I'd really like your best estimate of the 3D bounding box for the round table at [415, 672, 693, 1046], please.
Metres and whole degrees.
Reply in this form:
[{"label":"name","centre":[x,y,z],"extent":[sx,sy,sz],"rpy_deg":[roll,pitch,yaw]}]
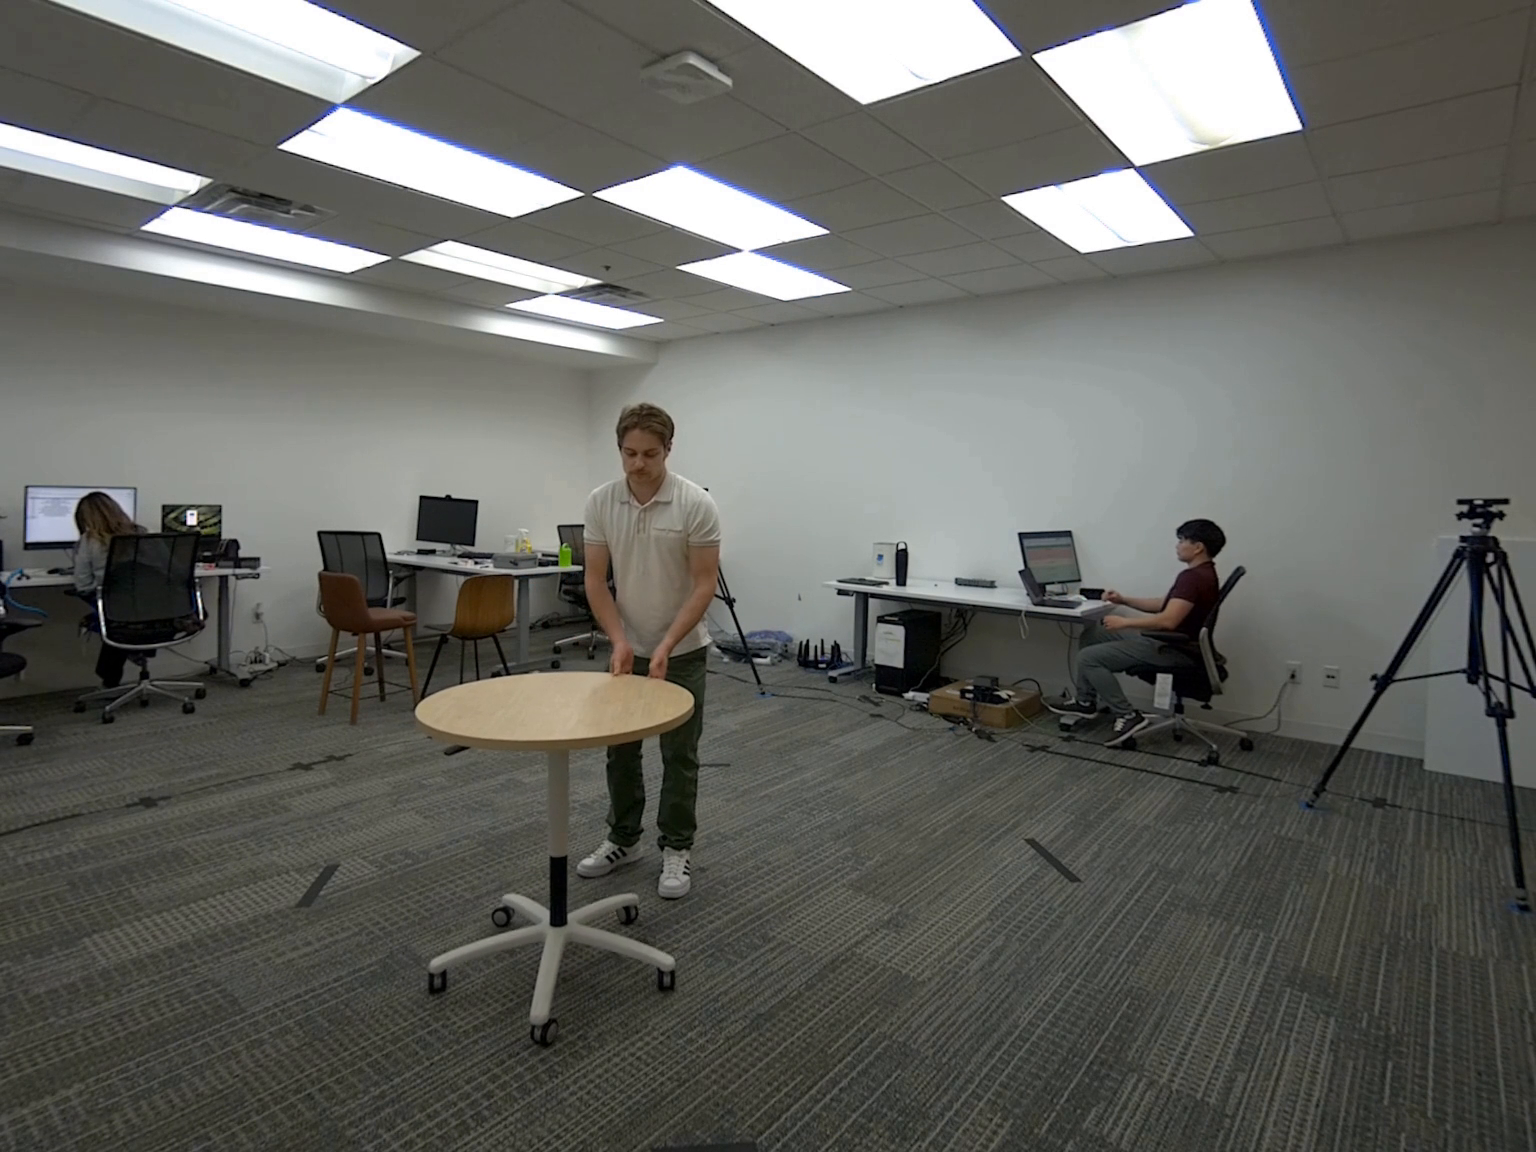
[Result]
[{"label":"round table","centre":[-0.614,0.744,2.416],"extent":[0.763,0.791,0.768],"rpy_deg":[0,4,-2]}]
